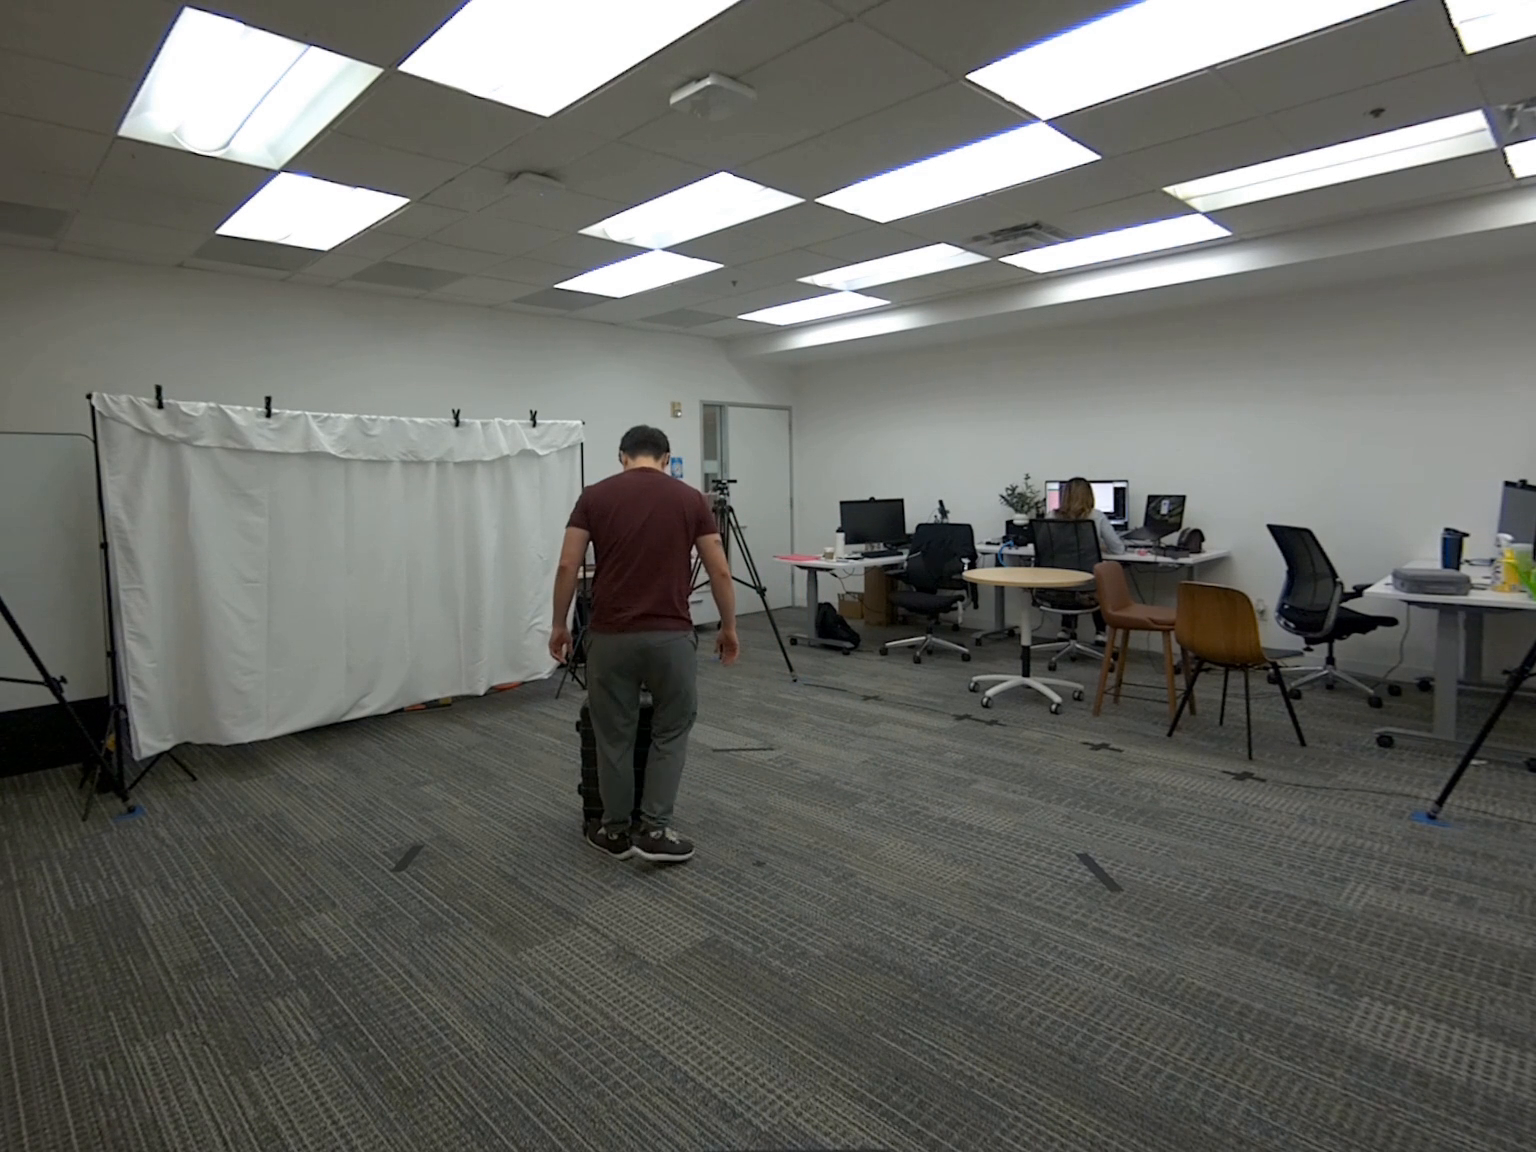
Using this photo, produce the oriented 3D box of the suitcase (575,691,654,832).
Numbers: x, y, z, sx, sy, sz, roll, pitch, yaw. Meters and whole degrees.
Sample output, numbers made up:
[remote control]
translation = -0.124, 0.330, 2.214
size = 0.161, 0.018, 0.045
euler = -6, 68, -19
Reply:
[suitcase]
translation = -0.580, 0.536, 3.483
size = 0.386, 0.976, 0.256
euler = -1, 3, 4
